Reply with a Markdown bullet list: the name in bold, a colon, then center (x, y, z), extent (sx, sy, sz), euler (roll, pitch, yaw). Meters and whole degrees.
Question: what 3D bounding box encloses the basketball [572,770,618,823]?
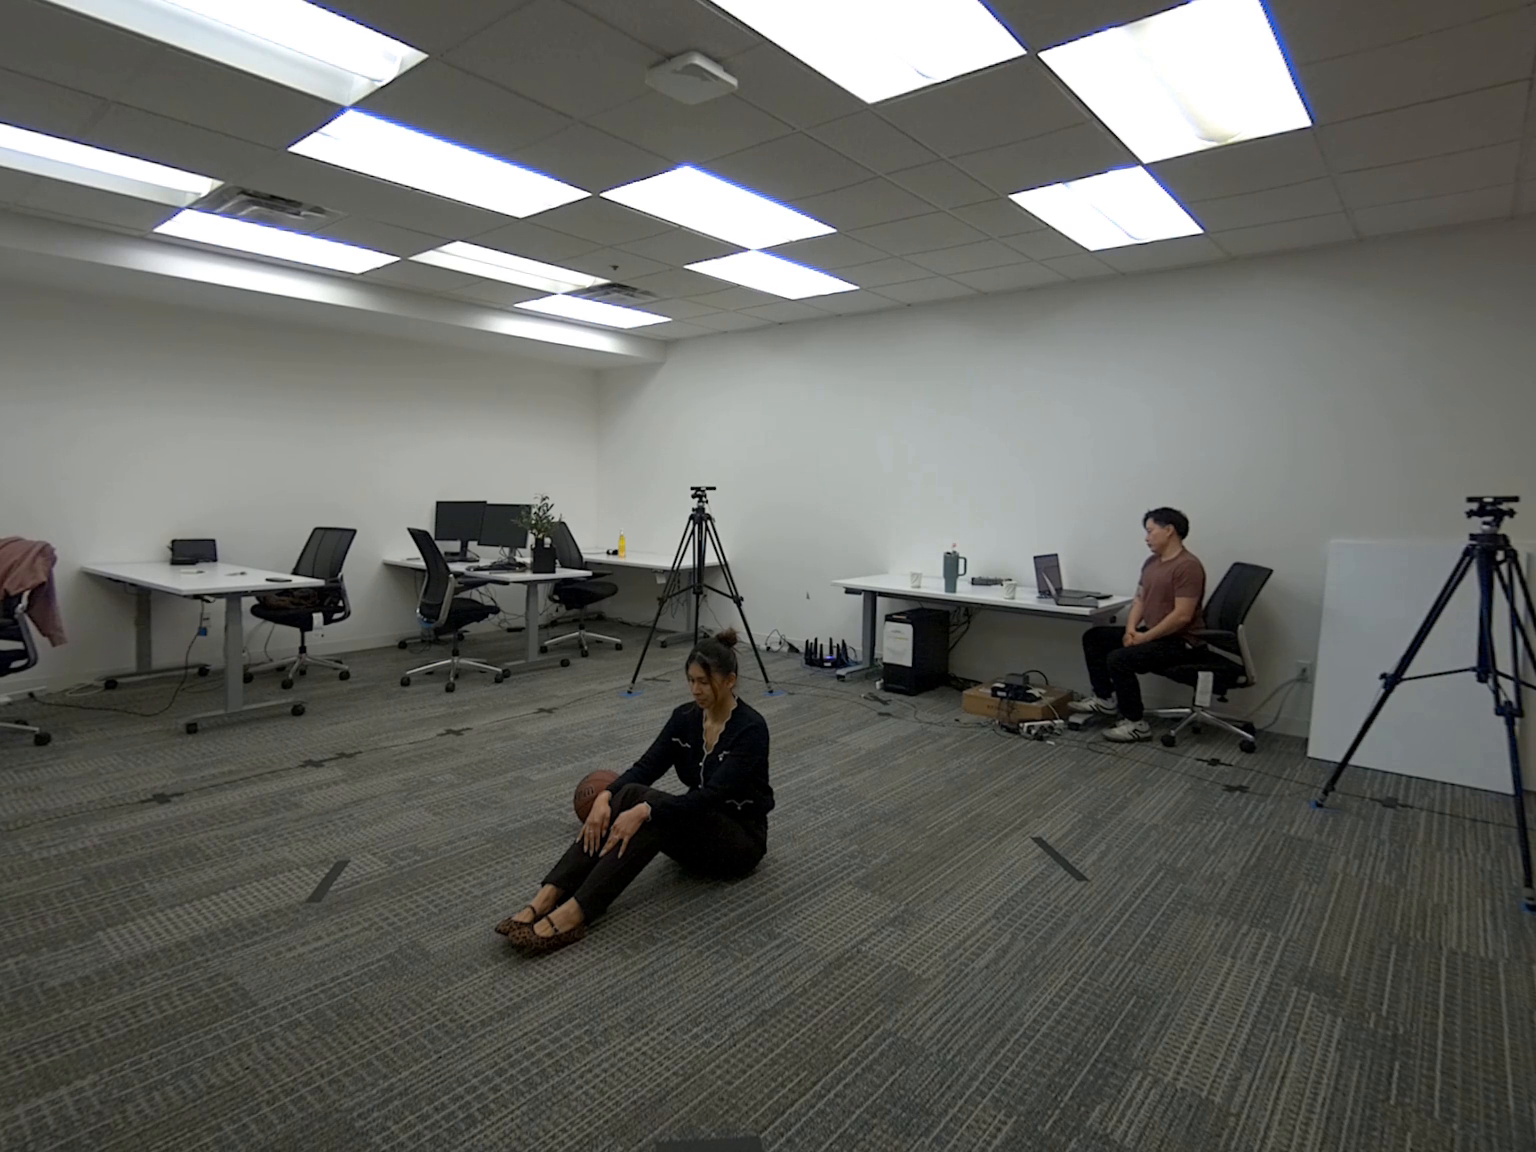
- **basketball**: center (-0.685, 0.904, 3.454), extent (0.235, 0.235, 0.237), euler (1, 4, -2)
